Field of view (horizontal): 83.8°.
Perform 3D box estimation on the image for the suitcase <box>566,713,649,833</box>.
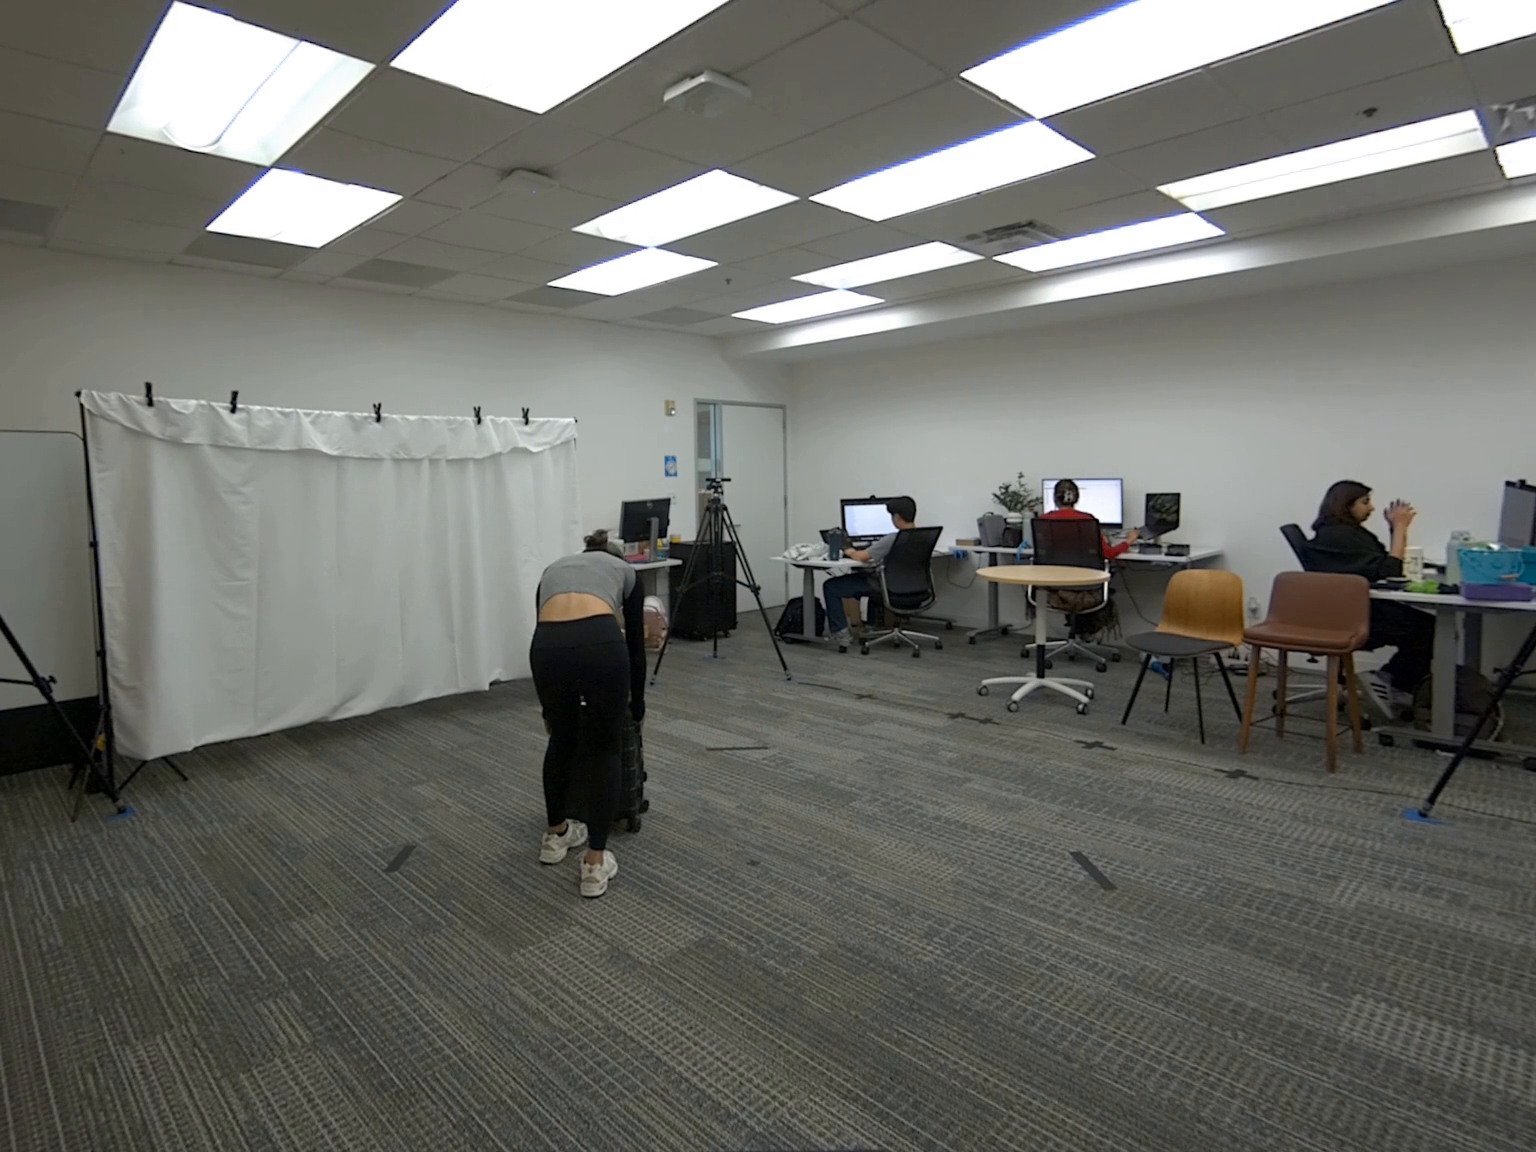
[{"bbox_3d":[-0.692,0.736,3.478,0.376,0.547,0.249,-2,4,2],"label":"suitcase"}]
